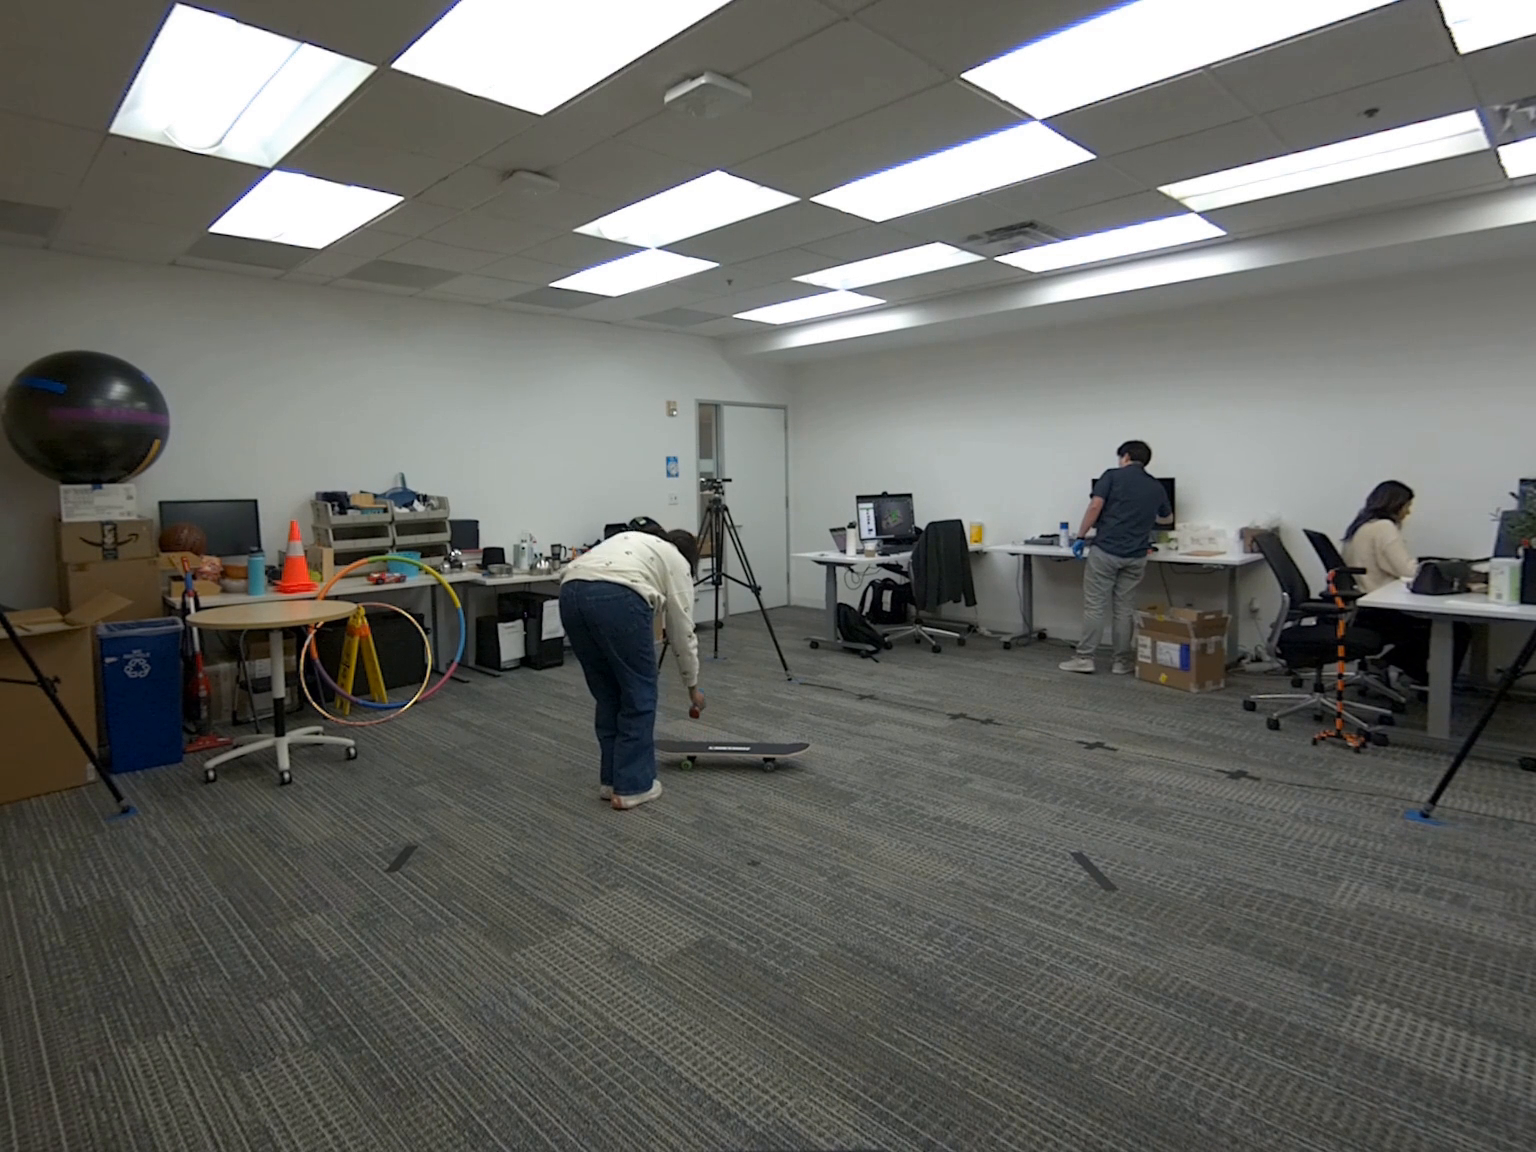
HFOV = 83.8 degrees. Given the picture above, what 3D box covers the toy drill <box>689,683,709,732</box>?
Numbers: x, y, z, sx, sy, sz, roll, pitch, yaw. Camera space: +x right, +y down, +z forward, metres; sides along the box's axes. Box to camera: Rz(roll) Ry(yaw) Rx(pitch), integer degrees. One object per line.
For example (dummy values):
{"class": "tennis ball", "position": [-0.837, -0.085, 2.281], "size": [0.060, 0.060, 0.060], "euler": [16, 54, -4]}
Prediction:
{"class": "toy drill", "position": [-0.332, 0.627, 4.113], "size": [0.061, 0.165, 0.149], "euler": [5, 38, 5]}
